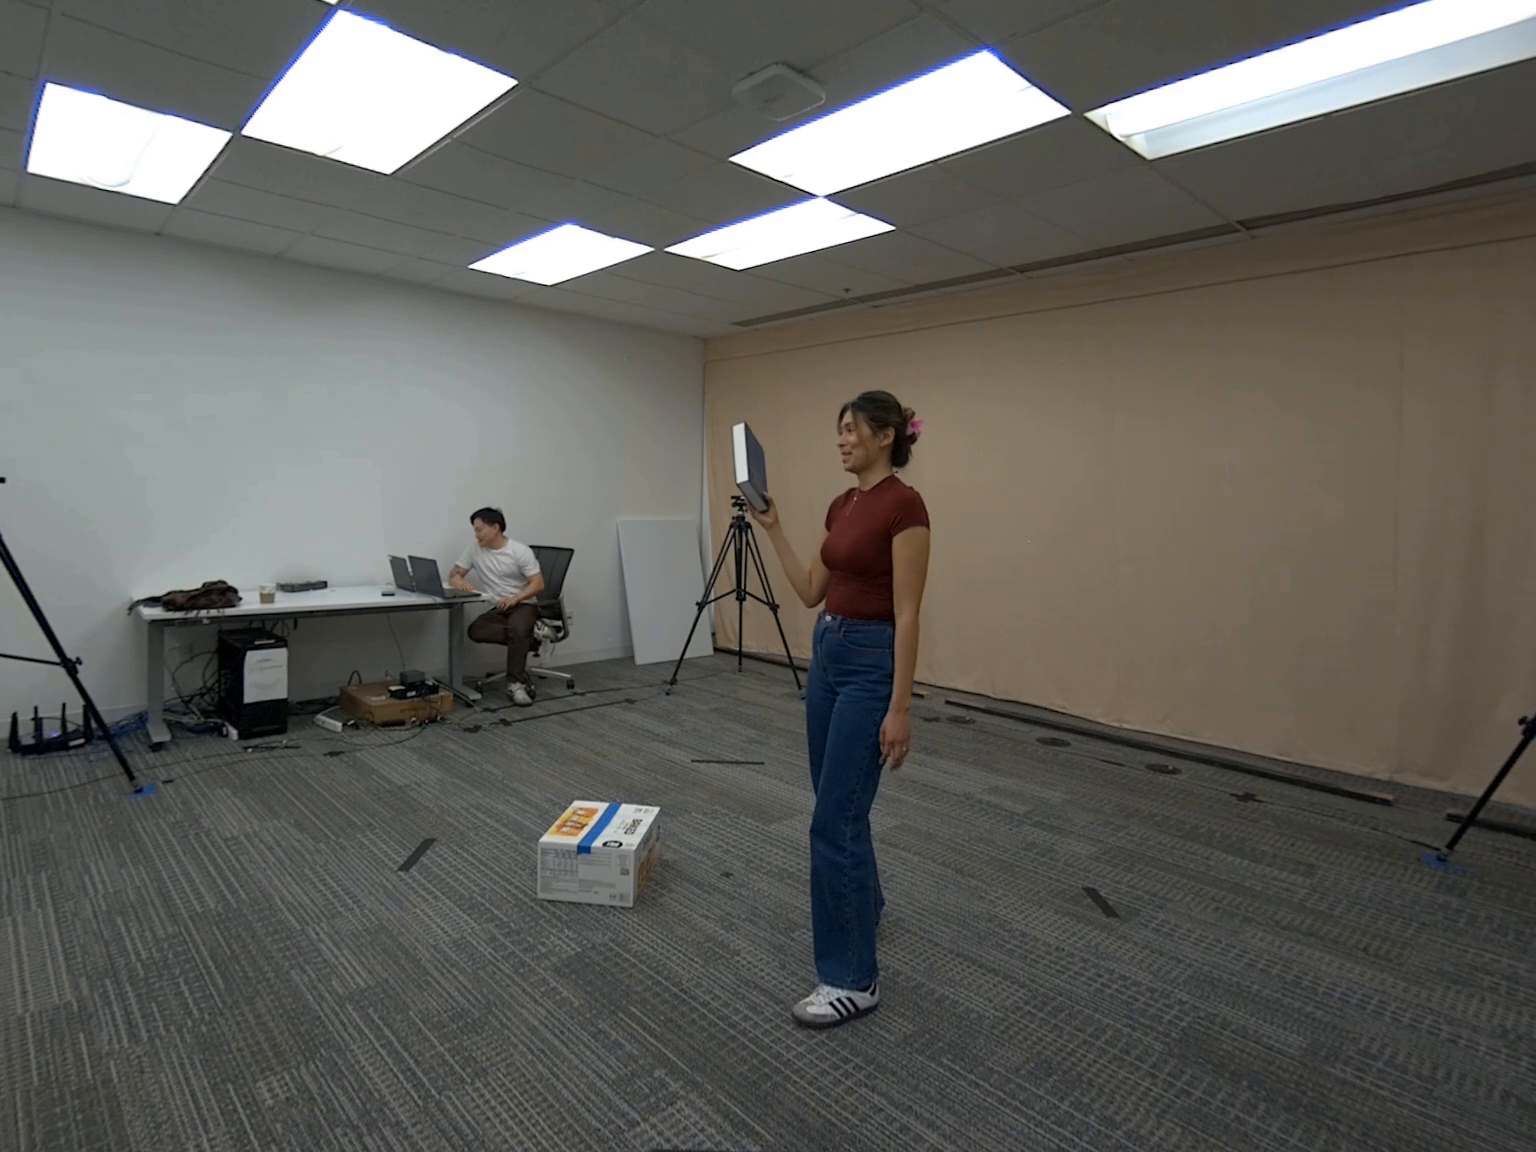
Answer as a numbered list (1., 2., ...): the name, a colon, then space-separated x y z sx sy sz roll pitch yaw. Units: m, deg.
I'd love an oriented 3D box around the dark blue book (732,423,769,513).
1. dark blue book: -0.058 -0.342 2.620 0.045 0.251 0.158 -19 -38 16
